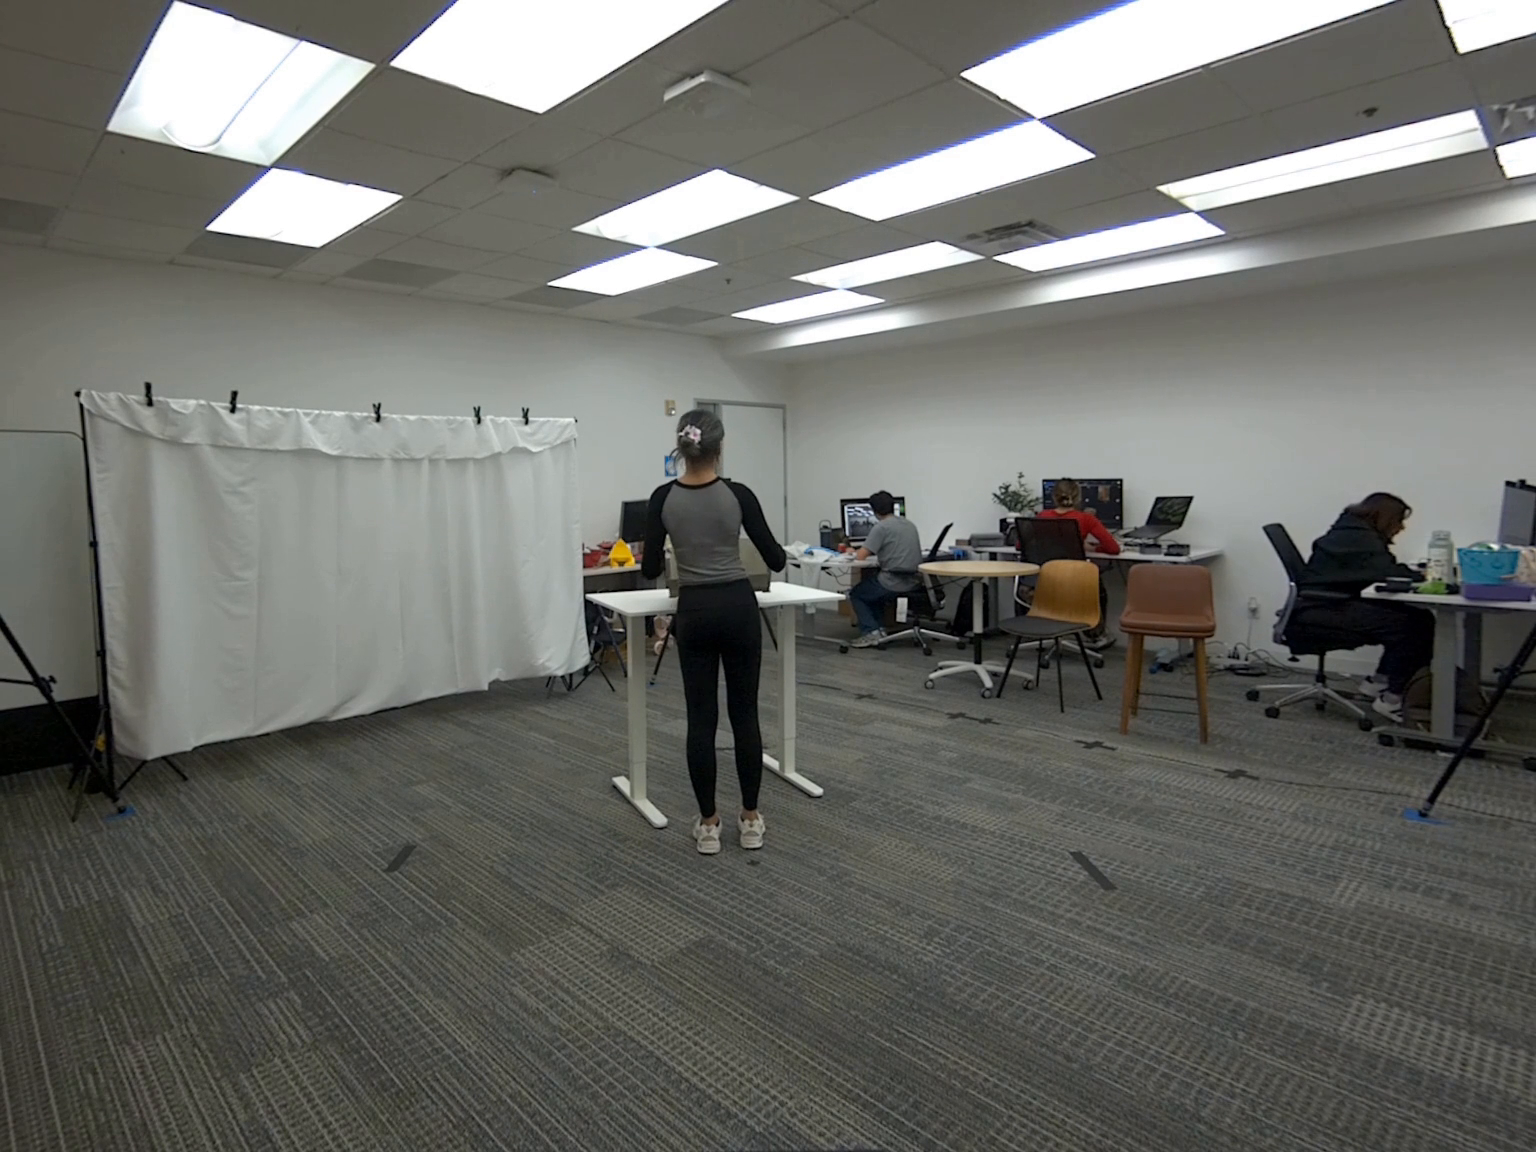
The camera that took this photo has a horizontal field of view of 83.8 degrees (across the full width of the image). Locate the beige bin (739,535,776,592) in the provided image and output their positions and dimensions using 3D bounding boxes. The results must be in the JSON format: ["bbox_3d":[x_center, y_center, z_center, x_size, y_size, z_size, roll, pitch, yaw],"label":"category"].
[{"bbox_3d":[-0.206,-0.025,3.551,0.422,0.187,0.381,-4,11,0],"label":"beige bin"}]
